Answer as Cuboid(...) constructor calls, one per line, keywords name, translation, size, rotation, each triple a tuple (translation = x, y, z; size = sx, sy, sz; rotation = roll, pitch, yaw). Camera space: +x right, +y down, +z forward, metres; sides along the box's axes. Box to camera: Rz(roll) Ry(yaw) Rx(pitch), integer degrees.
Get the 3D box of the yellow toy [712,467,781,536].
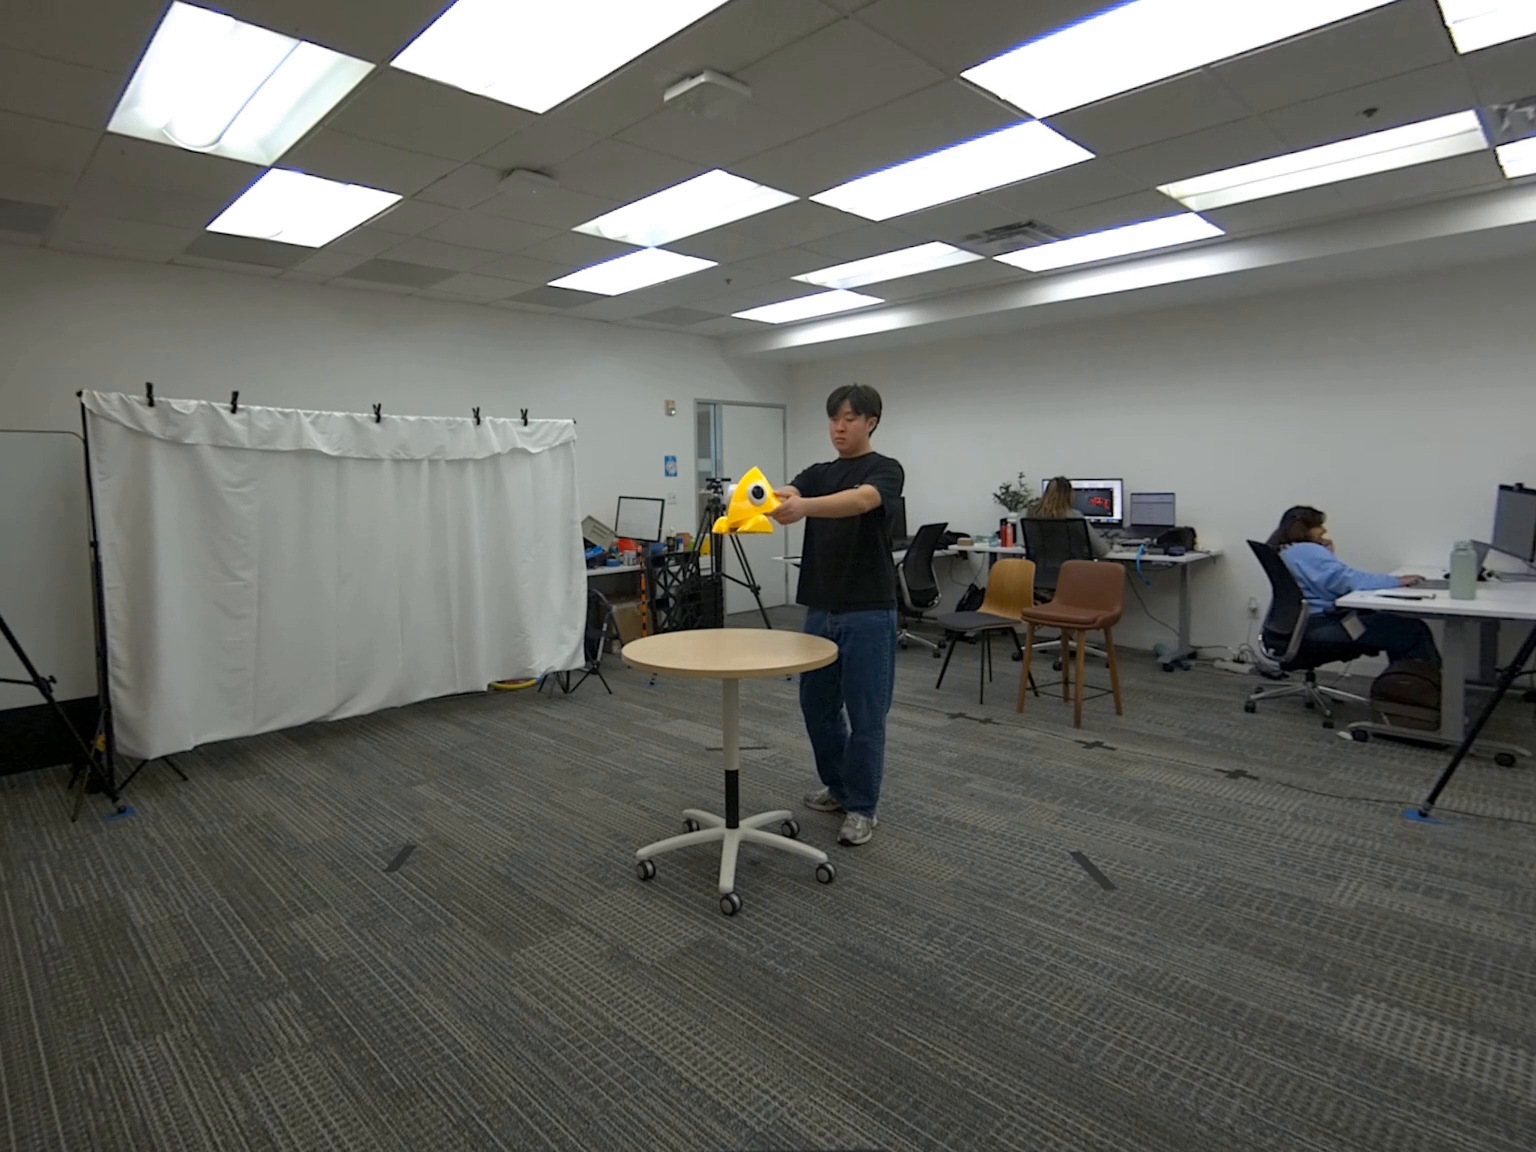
Cuboid(name="yellow toy", translation=(-0.073, -0.260, 2.881), size=(0.210, 0.231, 0.187), rotation=(0, -2, 38))
